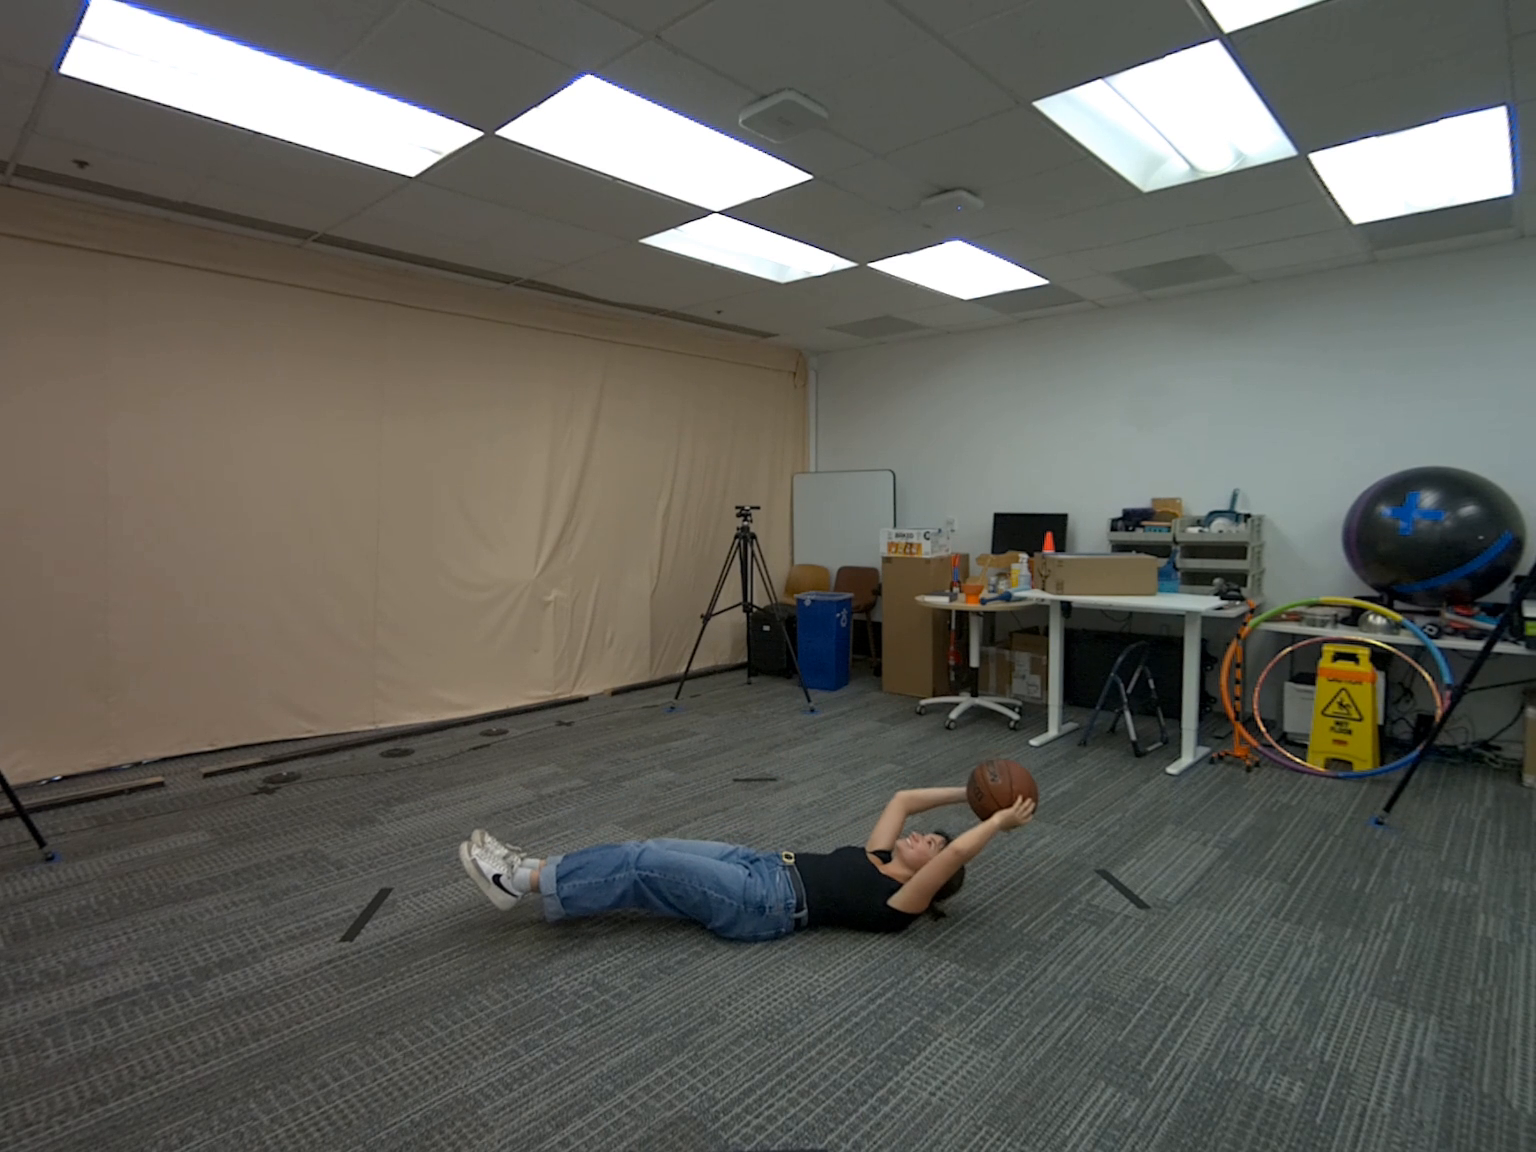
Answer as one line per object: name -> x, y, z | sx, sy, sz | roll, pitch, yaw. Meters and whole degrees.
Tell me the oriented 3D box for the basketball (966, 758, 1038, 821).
basketball -> 0.814, 0.755, 2.940 | 0.236, 0.235, 0.237 | 0, 4, -2
